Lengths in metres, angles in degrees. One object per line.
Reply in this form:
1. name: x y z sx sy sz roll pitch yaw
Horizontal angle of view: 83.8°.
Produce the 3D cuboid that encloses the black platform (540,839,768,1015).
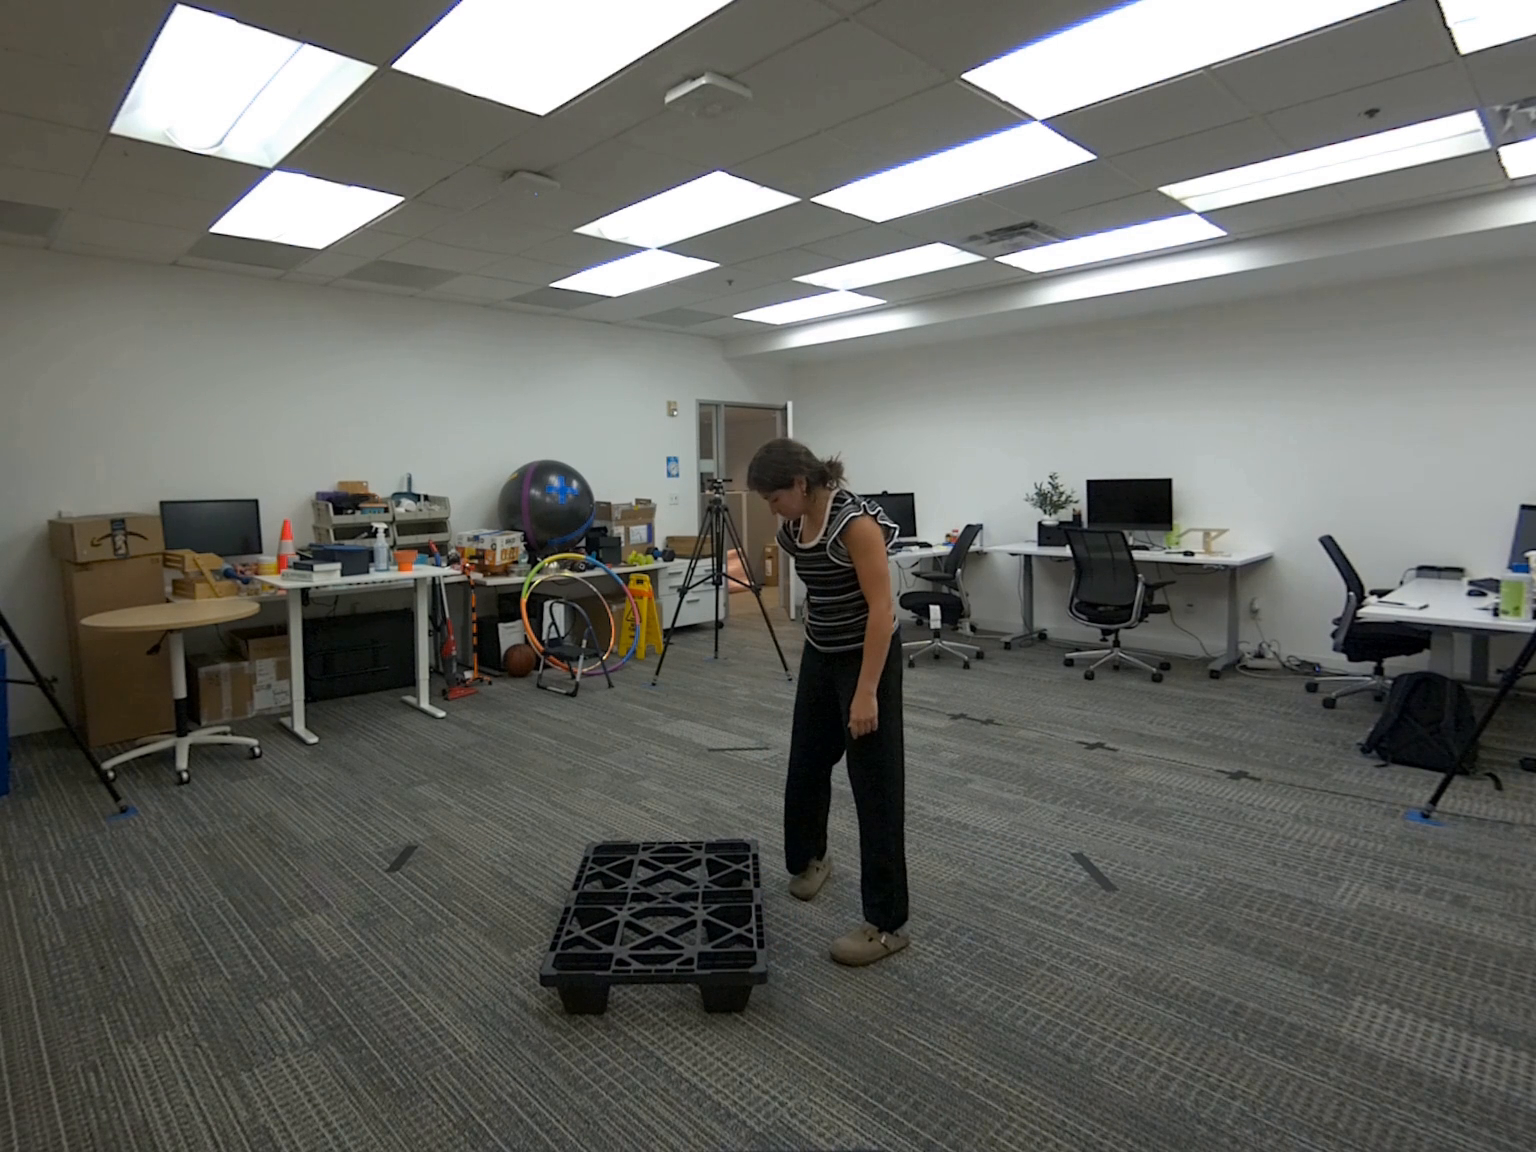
1. black platform: -0.310 1.039 2.600 0.605 0.142 0.810 -2 7 -1
